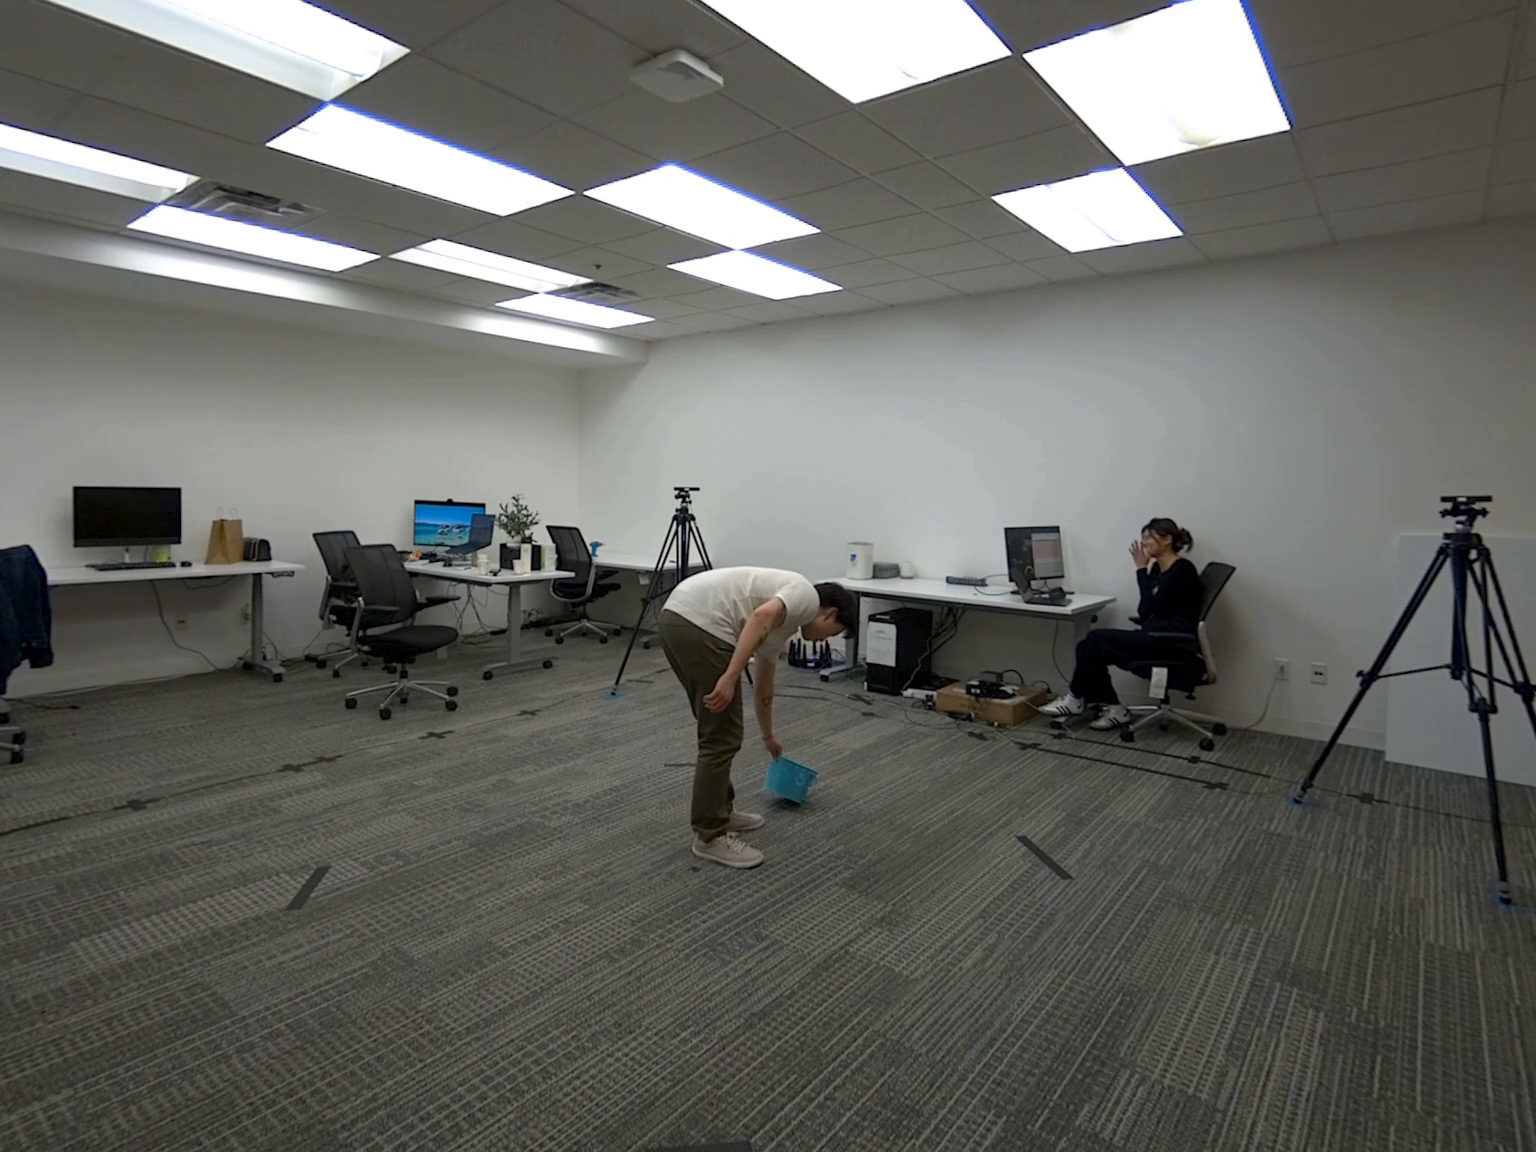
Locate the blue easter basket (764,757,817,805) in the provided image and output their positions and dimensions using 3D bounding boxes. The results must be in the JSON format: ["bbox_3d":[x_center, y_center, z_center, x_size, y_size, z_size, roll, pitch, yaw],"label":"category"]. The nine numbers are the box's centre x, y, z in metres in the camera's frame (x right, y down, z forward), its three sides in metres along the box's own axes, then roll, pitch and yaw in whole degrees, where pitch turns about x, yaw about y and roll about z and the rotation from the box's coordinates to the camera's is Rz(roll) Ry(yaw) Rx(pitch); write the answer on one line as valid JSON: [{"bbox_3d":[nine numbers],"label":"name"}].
[{"bbox_3d":[0.088,0.902,3.784,0.245,0.157,0.241,21,-11,2],"label":"blue easter basket"}]
